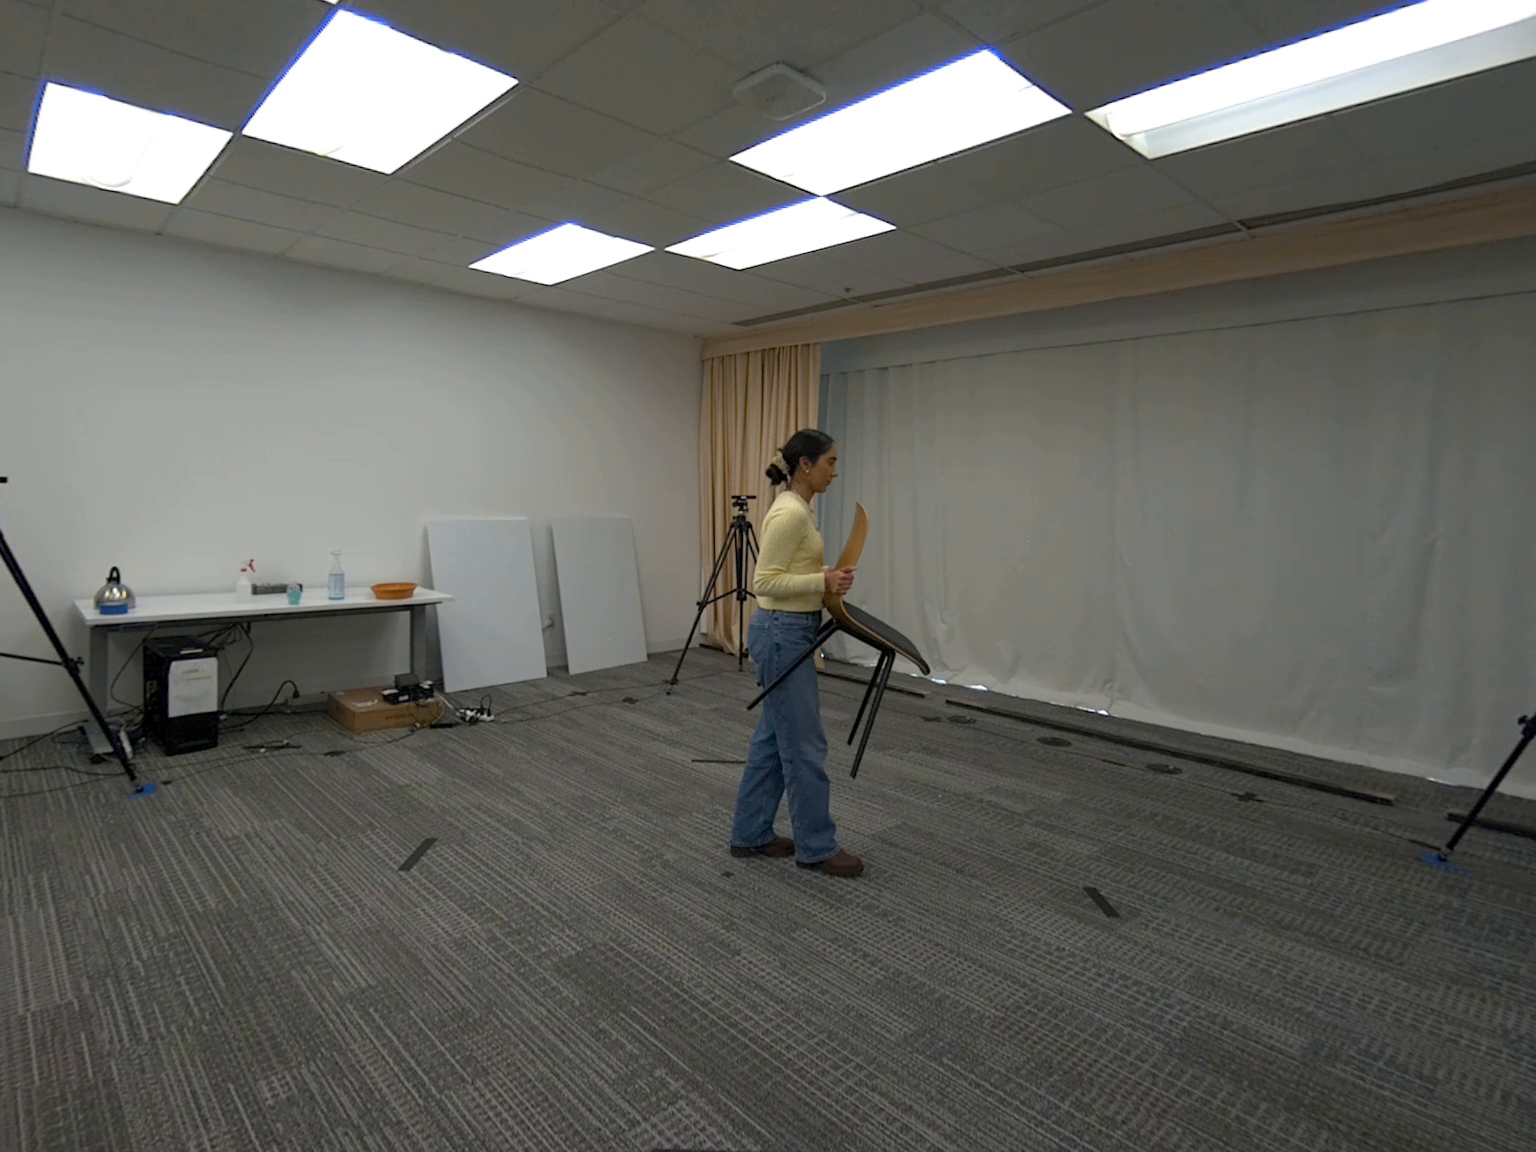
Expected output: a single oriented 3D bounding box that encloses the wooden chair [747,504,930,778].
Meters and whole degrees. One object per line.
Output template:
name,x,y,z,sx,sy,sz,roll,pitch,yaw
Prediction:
wooden chair,0.355,0.230,3.170,0.526,0.876,0.476,28,4,4
